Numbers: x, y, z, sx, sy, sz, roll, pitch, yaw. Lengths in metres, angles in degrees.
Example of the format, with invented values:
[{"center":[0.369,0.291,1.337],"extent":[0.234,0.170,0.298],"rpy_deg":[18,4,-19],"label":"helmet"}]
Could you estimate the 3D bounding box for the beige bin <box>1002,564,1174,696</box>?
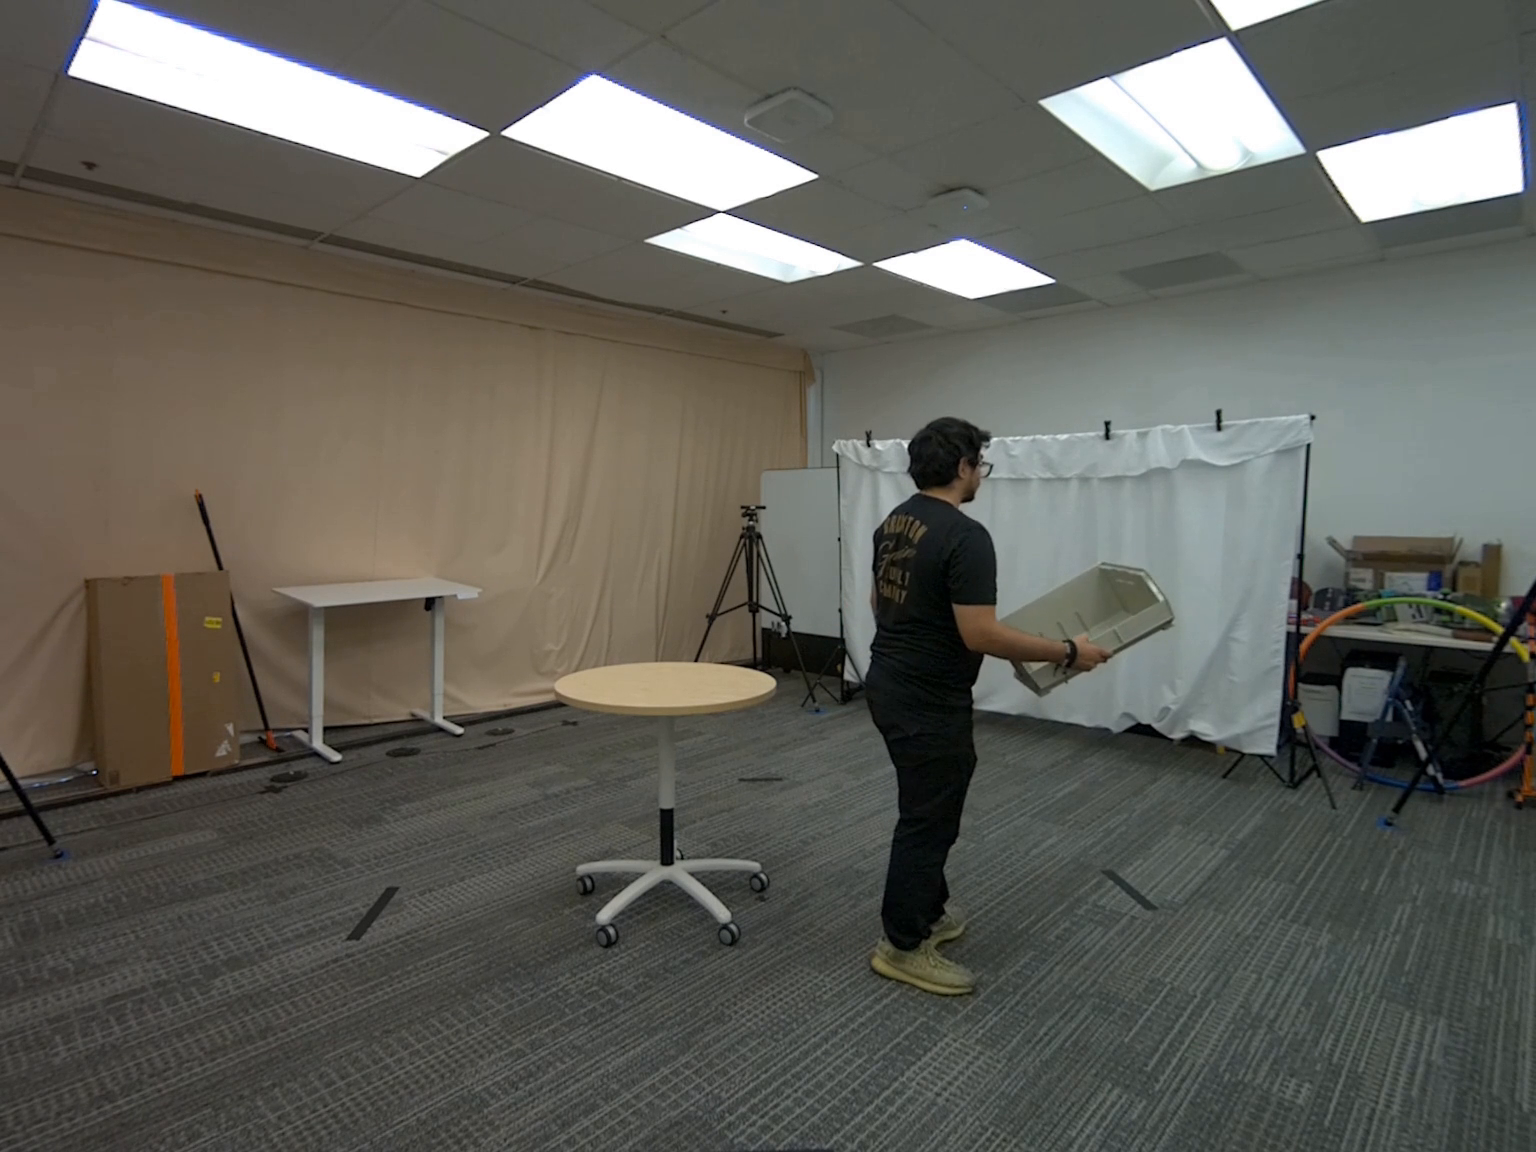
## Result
[{"center":[0.912,0.153,2.466],"extent":[0.423,0.189,0.376],"rpy_deg":[-31,0,4],"label":"beige bin"}]
